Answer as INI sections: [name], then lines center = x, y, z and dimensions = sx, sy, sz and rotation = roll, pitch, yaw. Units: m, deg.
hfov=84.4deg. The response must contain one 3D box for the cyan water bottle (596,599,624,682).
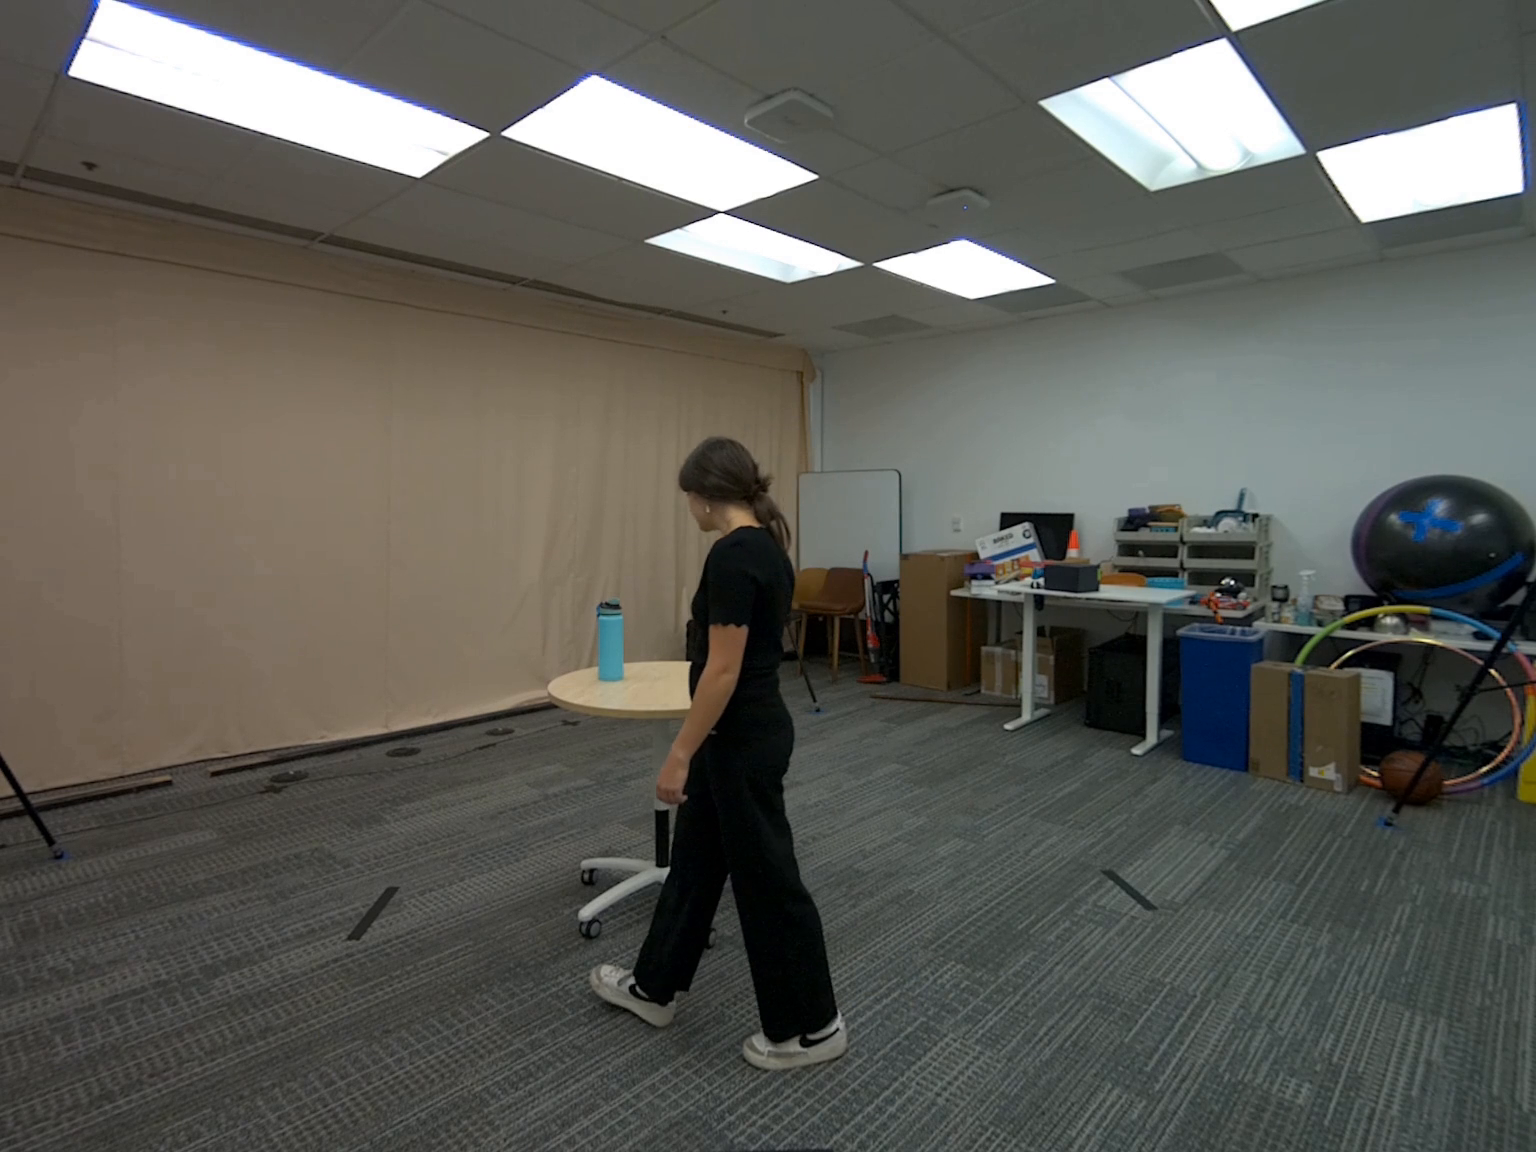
[cyan water bottle]
center = -0.552, 0.221, 2.971
dimensions = 0.092, 0.283, 0.092
rotation = 1, 1, -2
